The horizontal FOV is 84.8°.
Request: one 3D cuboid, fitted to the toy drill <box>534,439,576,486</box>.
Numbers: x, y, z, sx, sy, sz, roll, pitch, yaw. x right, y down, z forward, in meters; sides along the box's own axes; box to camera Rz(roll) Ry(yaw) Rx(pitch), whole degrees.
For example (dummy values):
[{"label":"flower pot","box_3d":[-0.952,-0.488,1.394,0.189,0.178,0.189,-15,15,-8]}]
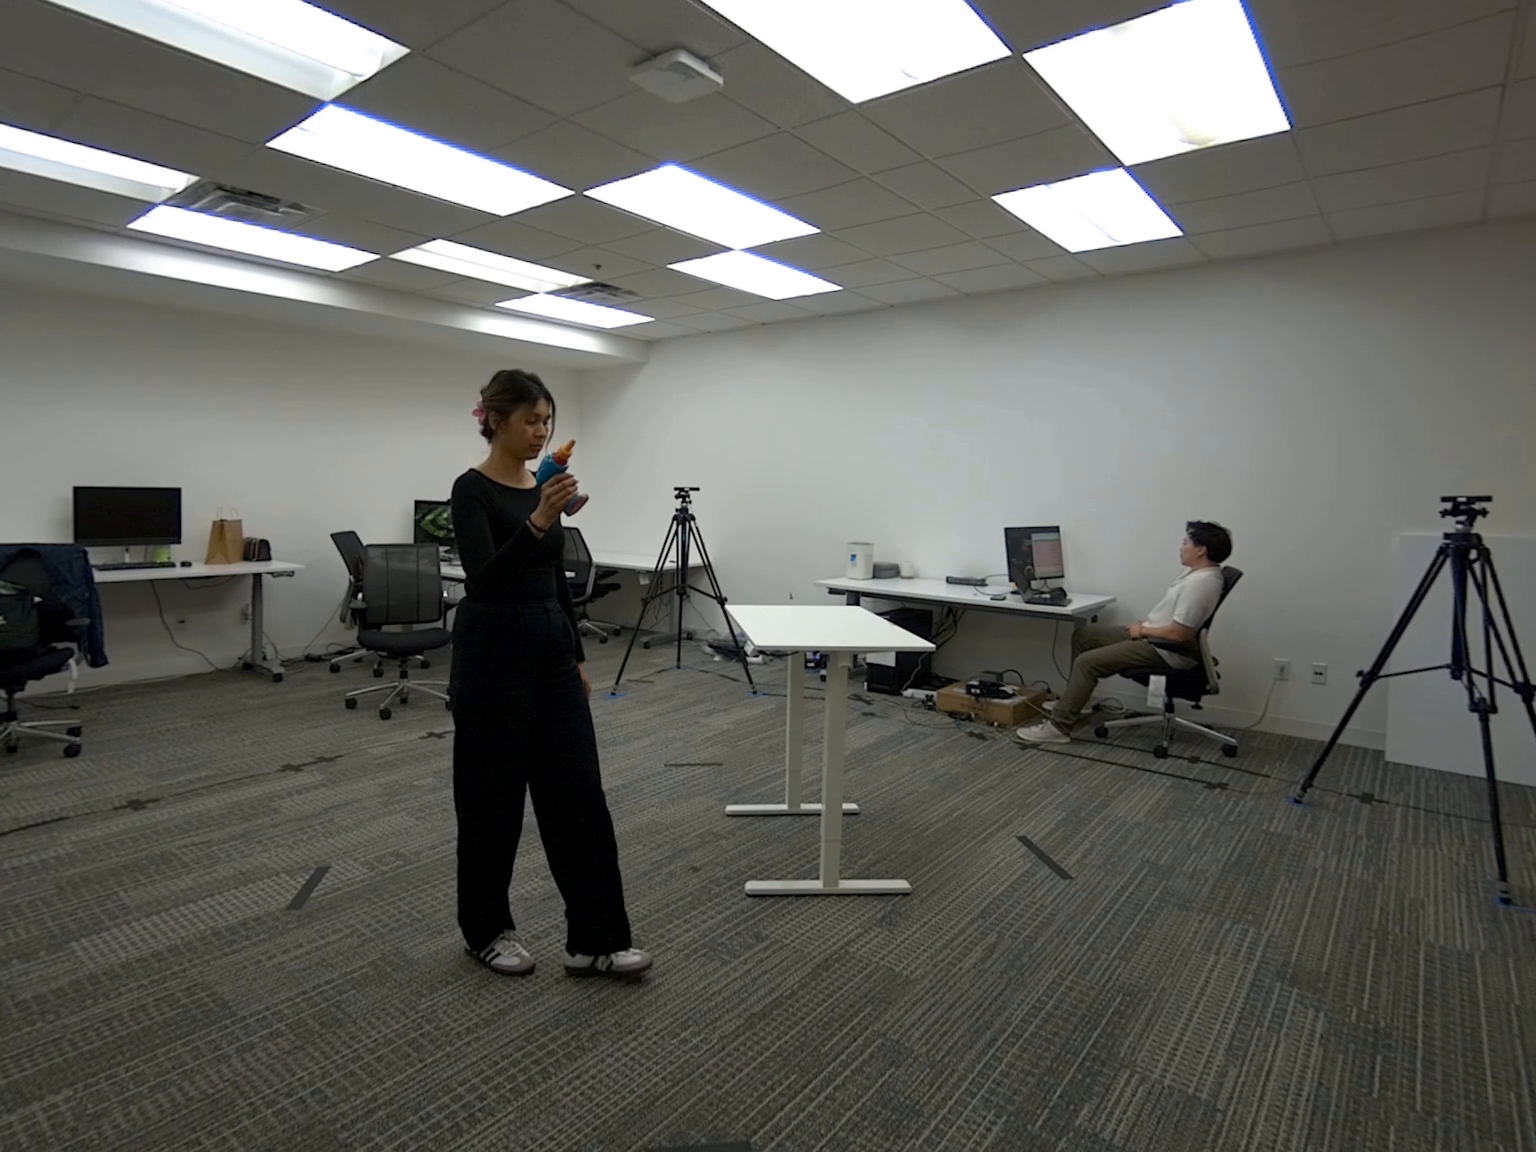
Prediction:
[{"label":"toy drill","box_3d":[-0.489,-0.243,2.024,0.170,0.147,0.060,-45,-6,30]}]
